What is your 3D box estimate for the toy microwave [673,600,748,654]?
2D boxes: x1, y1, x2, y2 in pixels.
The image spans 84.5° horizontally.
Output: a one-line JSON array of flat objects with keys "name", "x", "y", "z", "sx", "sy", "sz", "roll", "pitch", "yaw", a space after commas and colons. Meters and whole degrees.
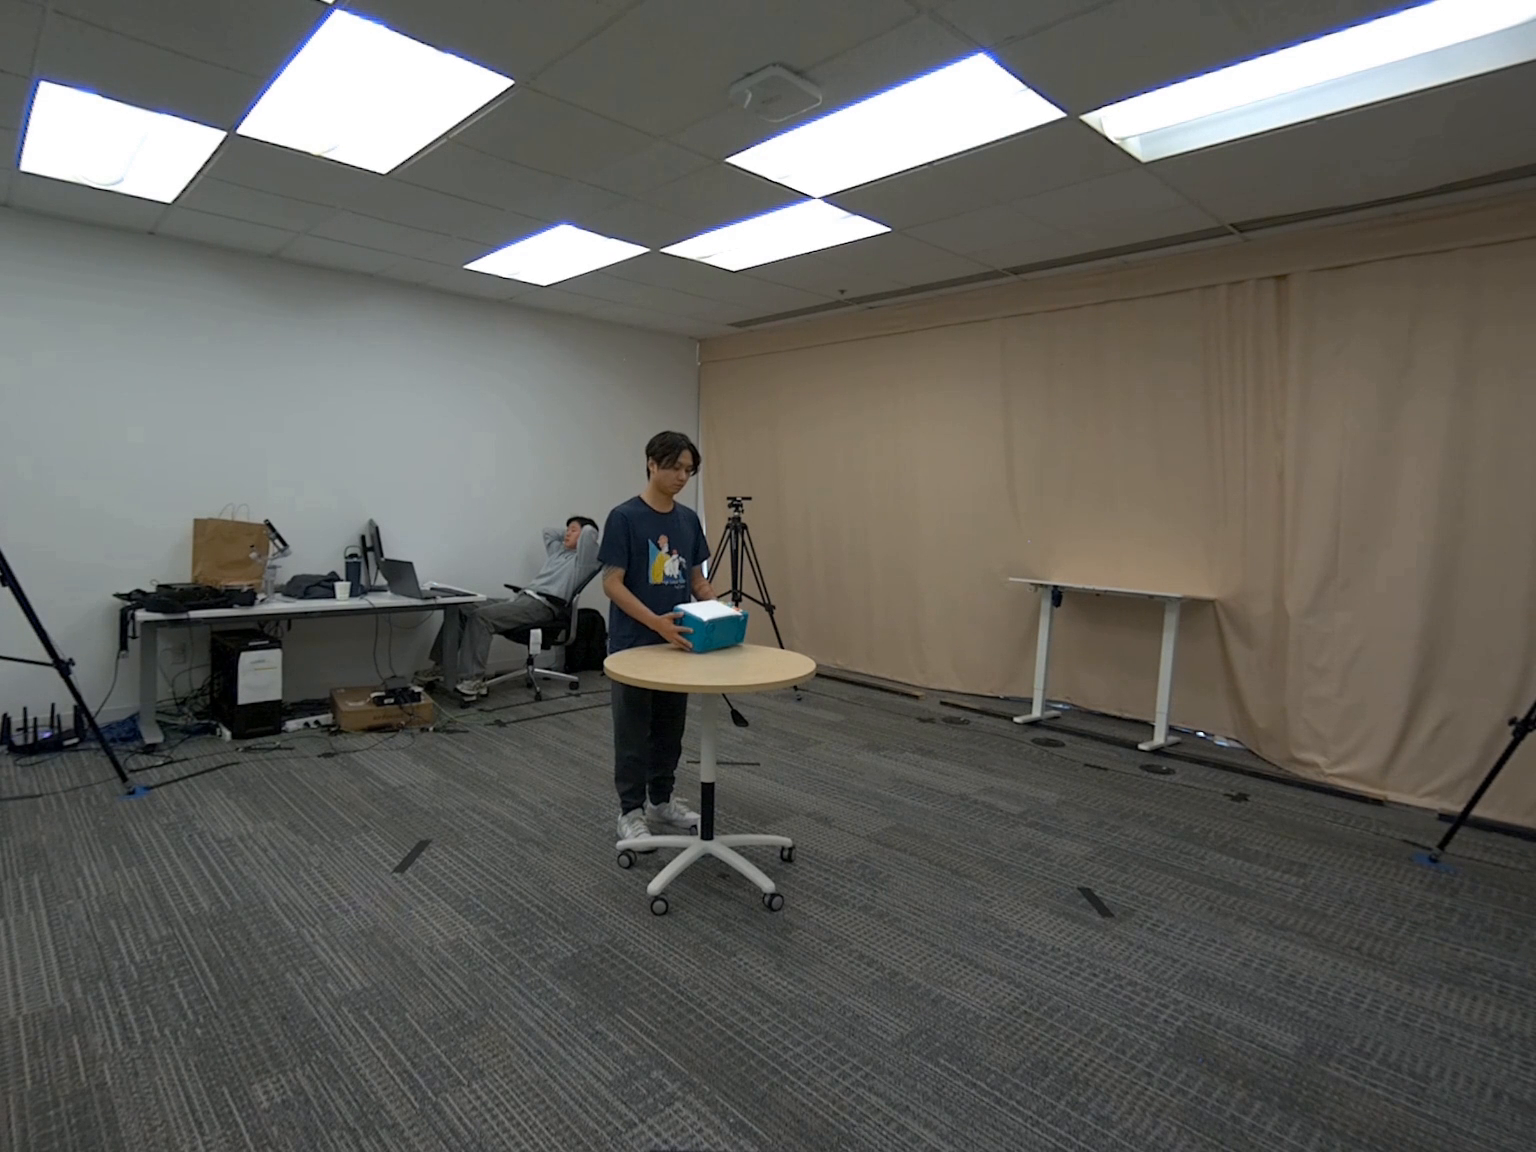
[{"name": "toy microwave", "x": -0.232, "y": 0.190, "z": 3.296, "sx": 0.189, "sy": 0.151, "sz": 0.280, "roll": 20, "pitch": 17, "yaw": 35}]
